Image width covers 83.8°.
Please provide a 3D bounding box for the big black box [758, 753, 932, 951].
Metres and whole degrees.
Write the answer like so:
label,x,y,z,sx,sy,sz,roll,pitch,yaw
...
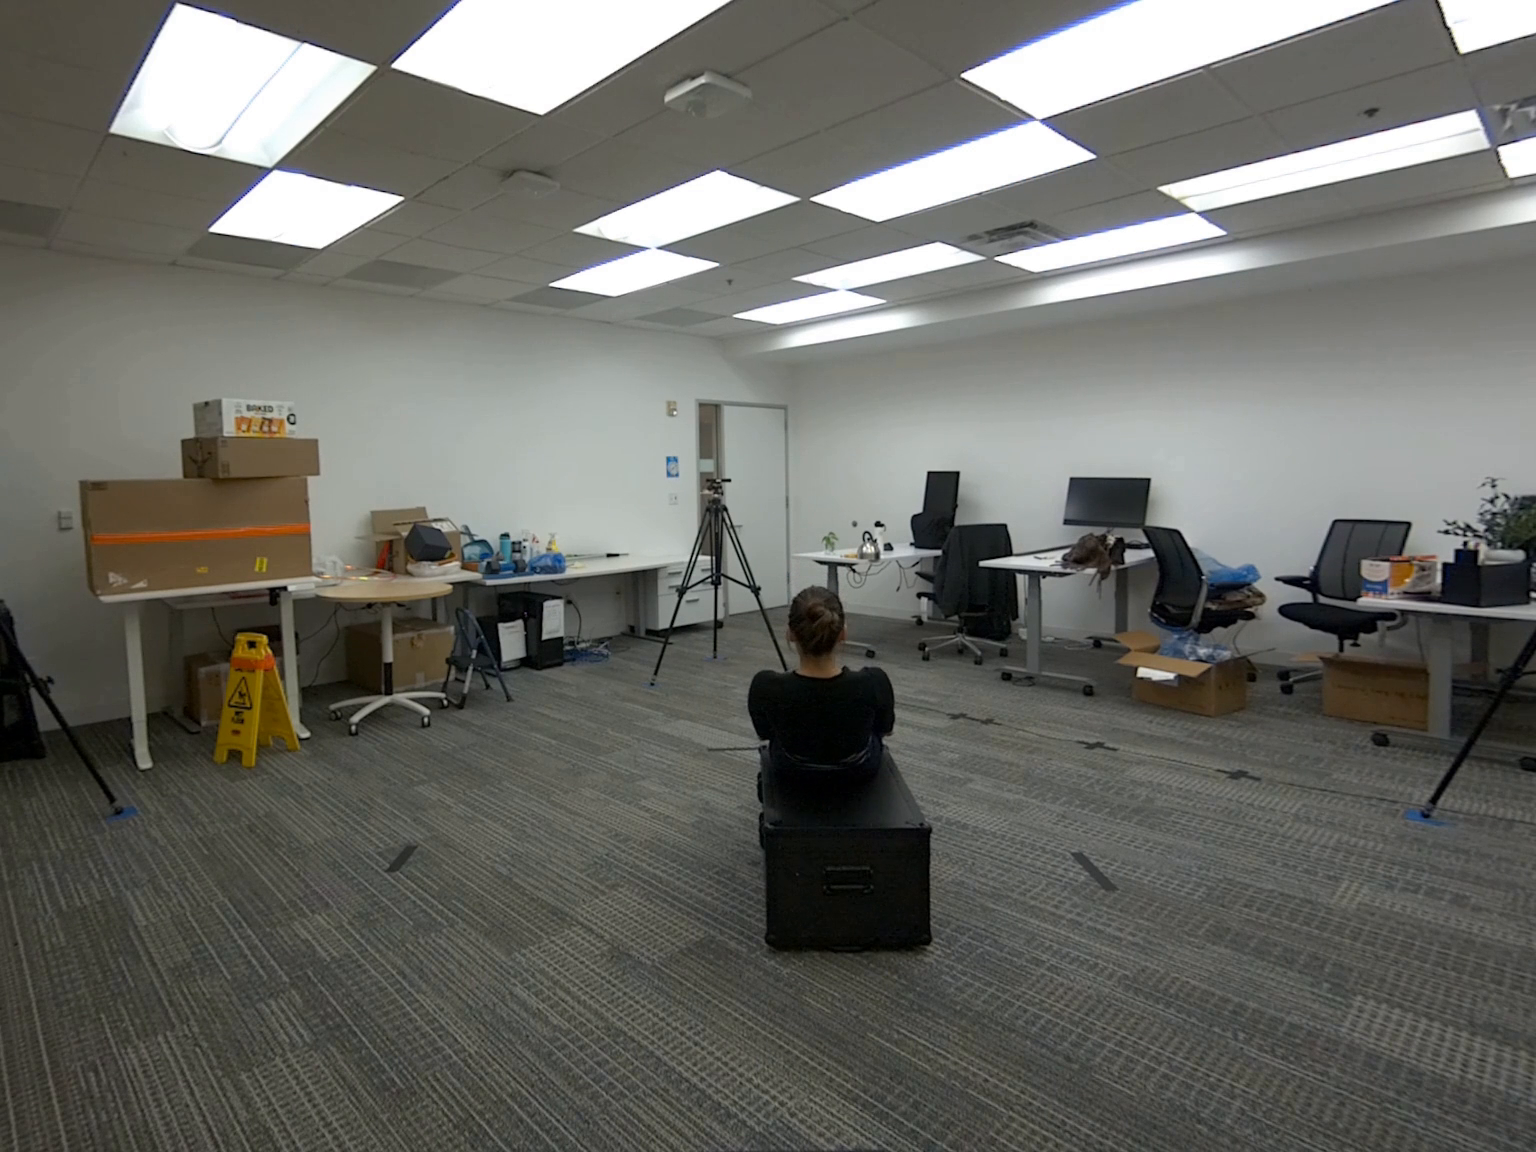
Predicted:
label,x,y,z,sx,sy,sz,roll,pitch,yaw
big black box,0.225,0.864,2.912,0.521,0.394,0.865,-1,6,-1
